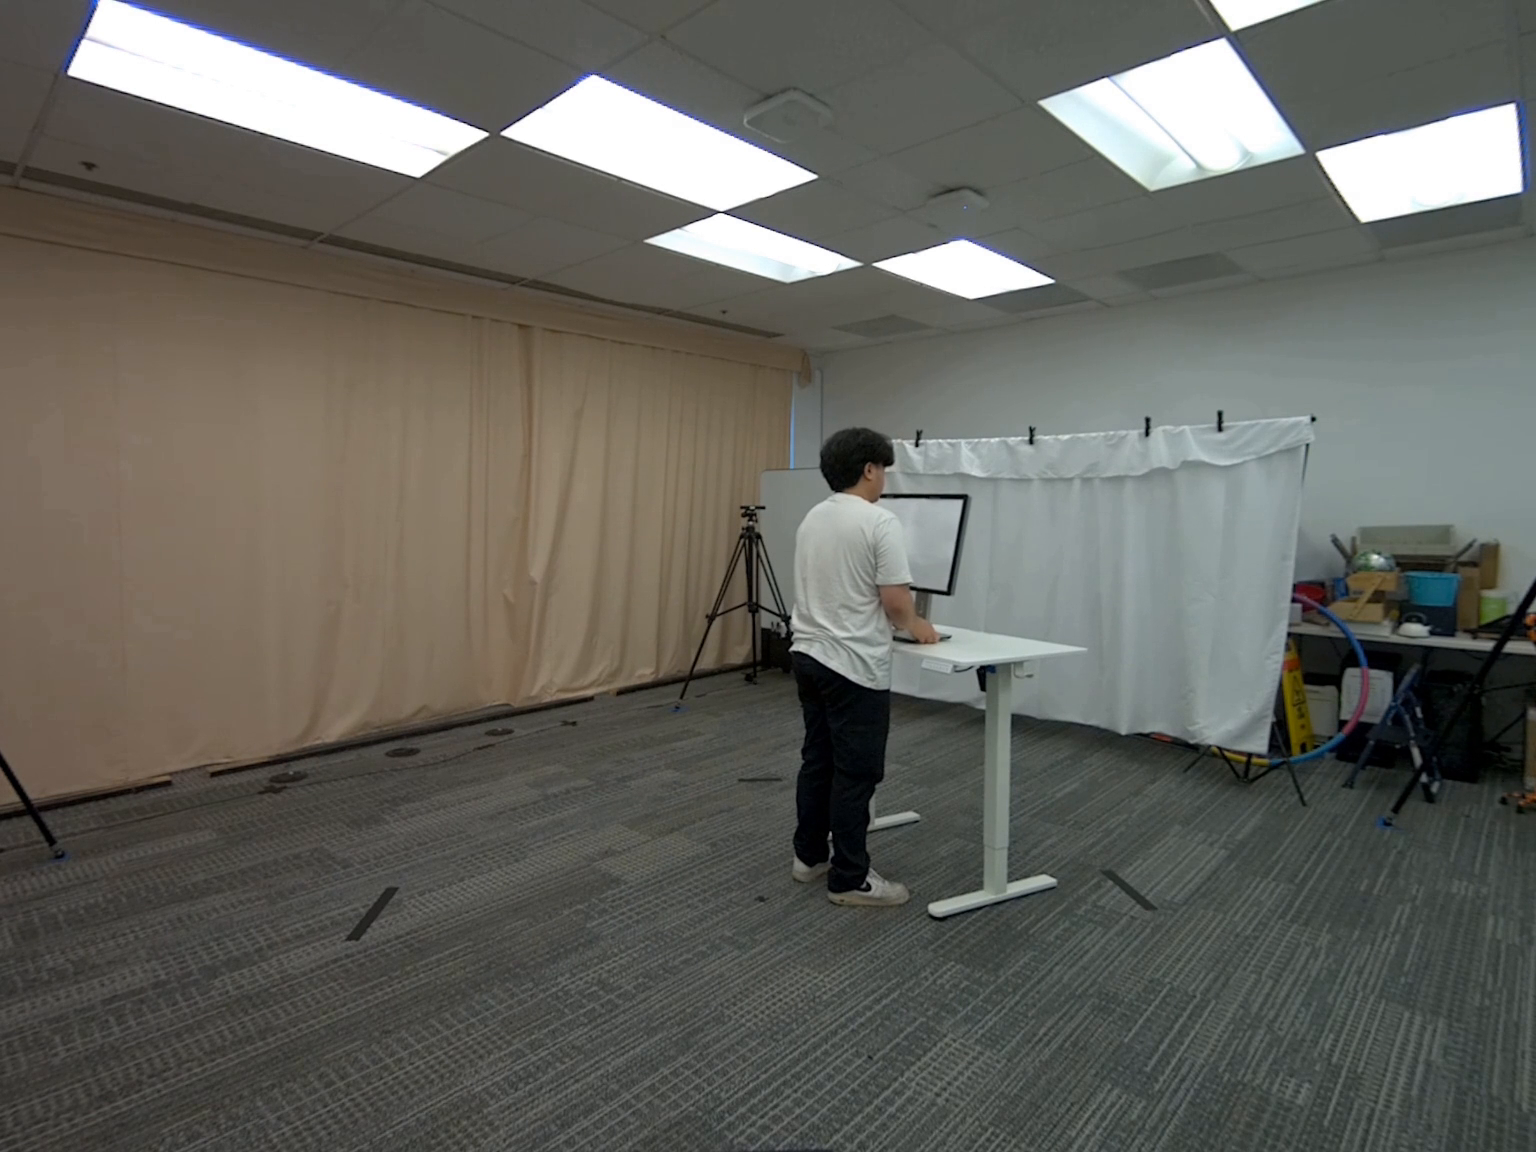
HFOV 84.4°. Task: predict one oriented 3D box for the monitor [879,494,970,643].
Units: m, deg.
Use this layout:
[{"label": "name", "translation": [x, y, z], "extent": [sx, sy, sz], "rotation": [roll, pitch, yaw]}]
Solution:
[{"label": "monitor", "translation": [0.578, -0.036, 3.212], "extent": [0.204, 0.554, 0.582], "rotation": [6, 0, -31]}]
